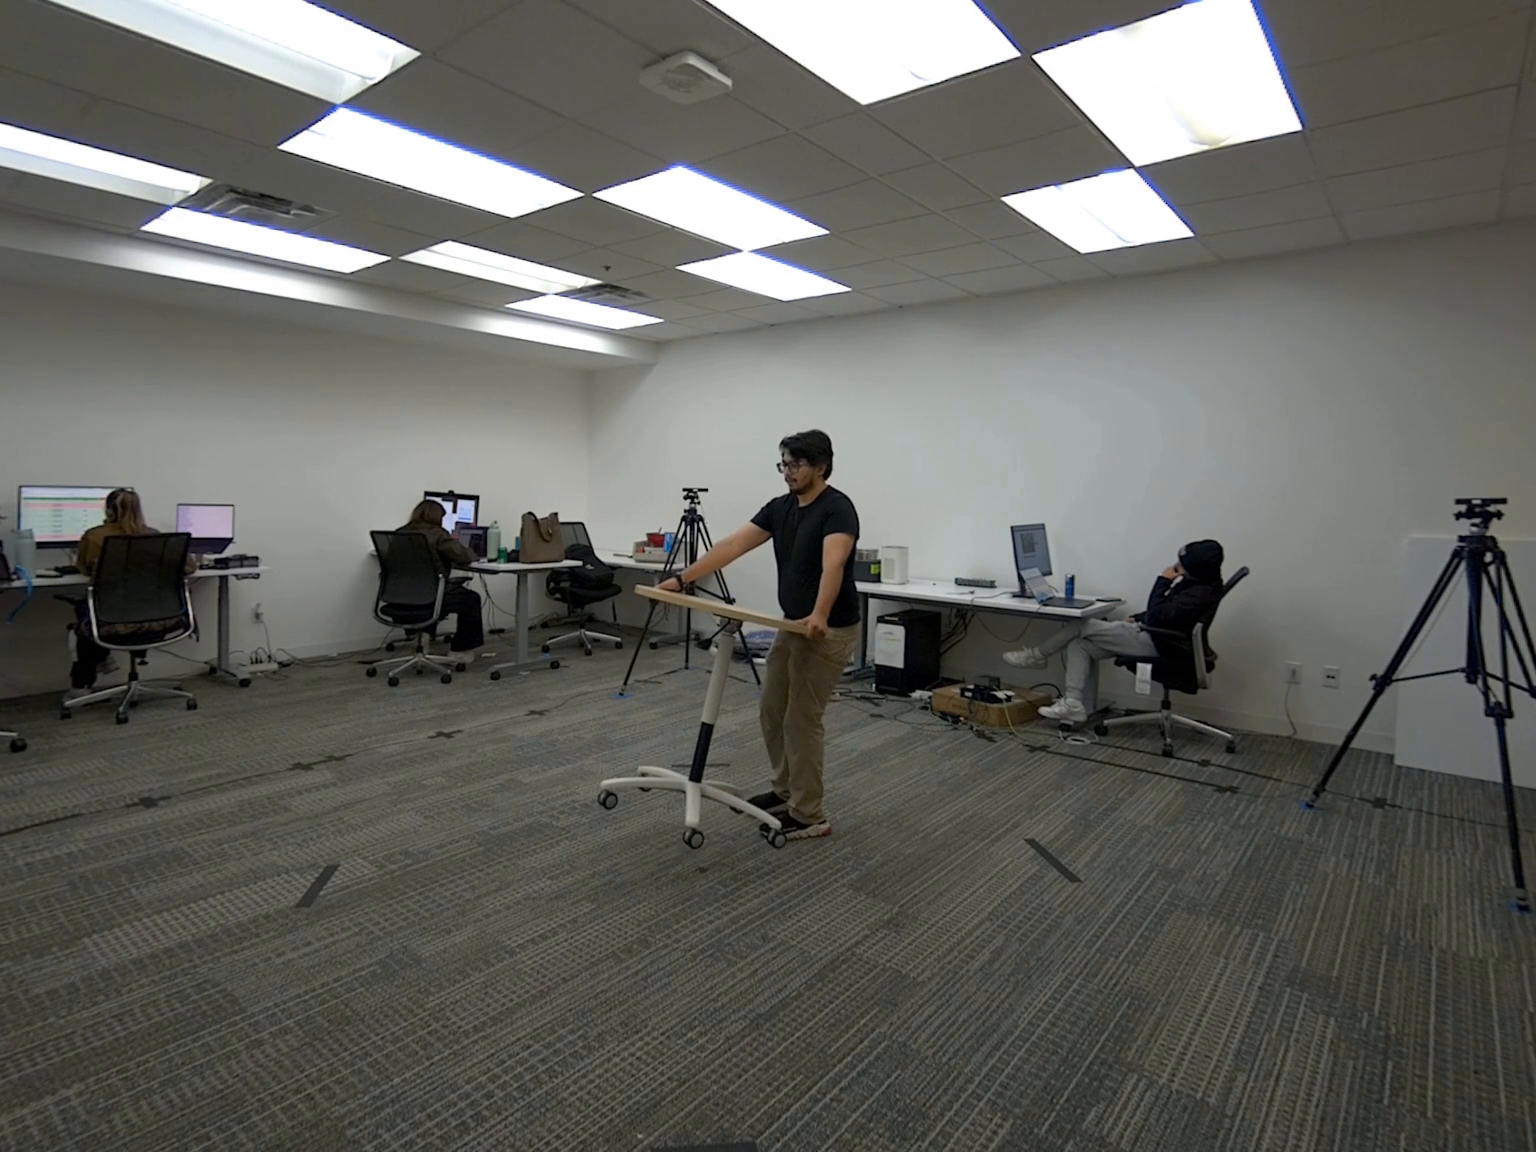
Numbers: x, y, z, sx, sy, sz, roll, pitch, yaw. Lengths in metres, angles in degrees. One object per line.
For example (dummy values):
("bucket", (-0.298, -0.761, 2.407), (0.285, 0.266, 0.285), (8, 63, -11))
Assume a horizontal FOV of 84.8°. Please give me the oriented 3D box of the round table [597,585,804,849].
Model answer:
("round table", (-0.219, 0.513, 3.183), (0.785, 0.788, 0.785), (12, -2, -2))
